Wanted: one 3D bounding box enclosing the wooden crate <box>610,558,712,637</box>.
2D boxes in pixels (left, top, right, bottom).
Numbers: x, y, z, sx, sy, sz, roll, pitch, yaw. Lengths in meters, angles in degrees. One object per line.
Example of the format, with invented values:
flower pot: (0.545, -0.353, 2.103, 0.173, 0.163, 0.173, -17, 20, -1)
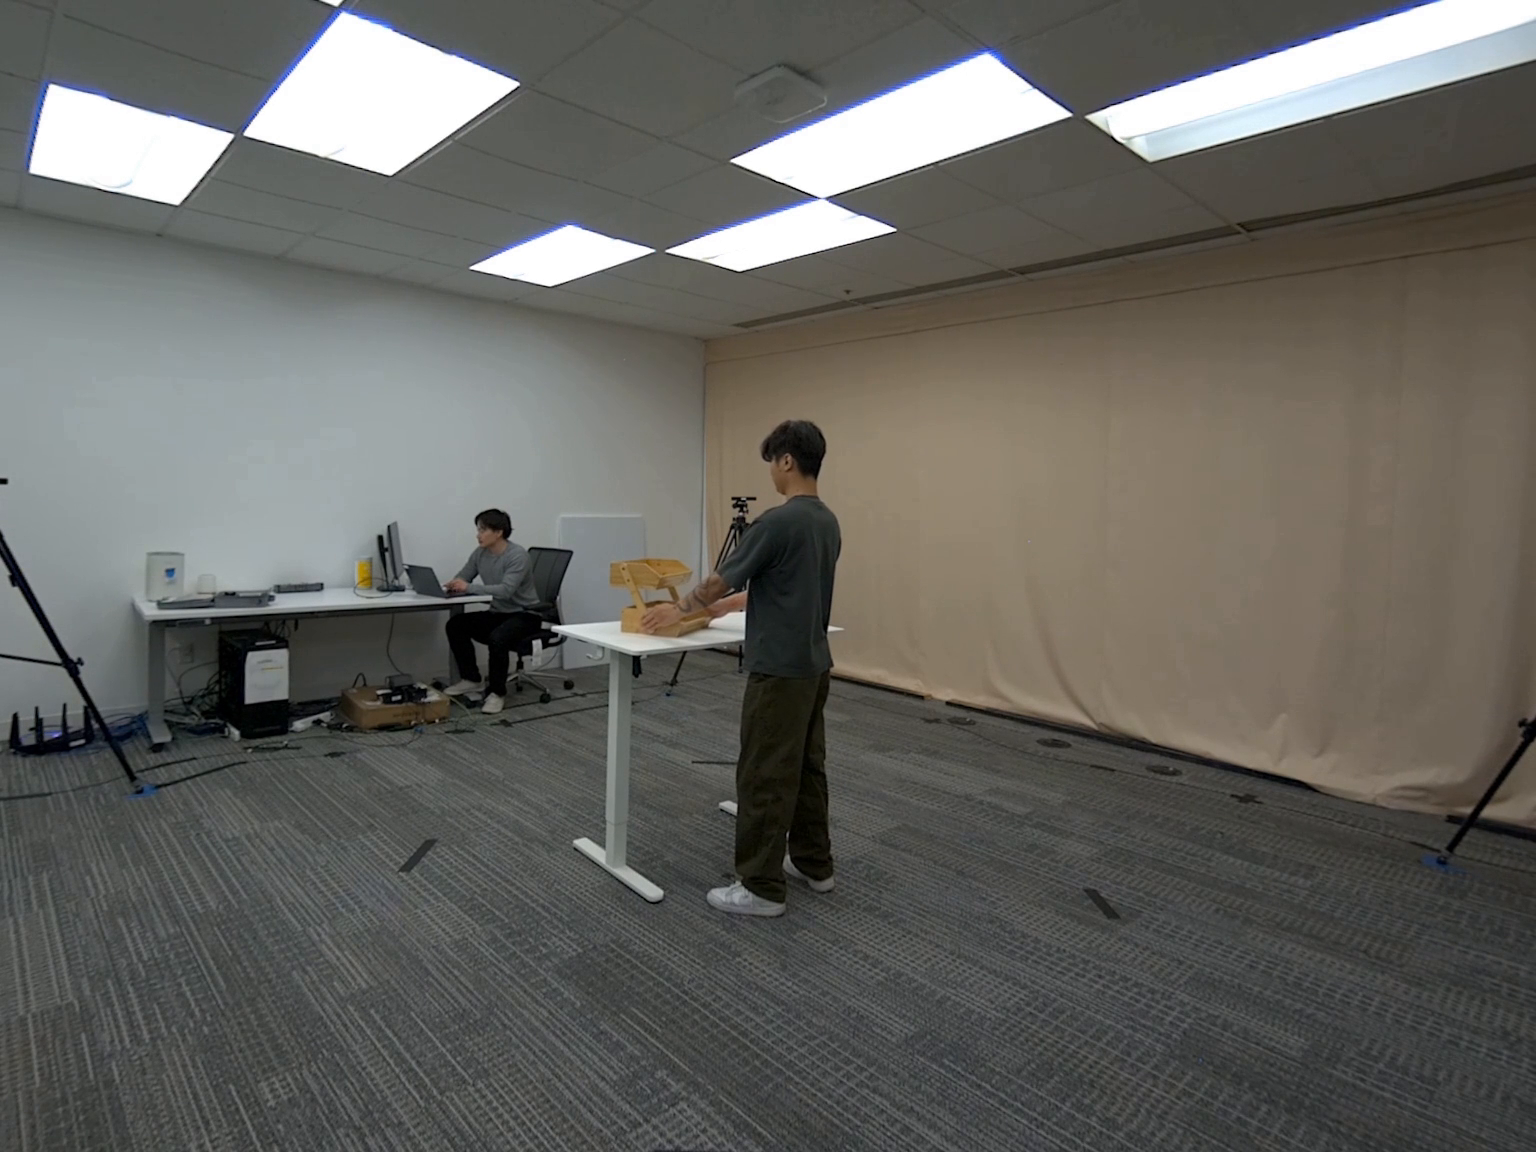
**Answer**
wooden crate: (-0.408, 0.074, 3.239, 0.307, 0.273, 0.320, 3, 4, 19)
